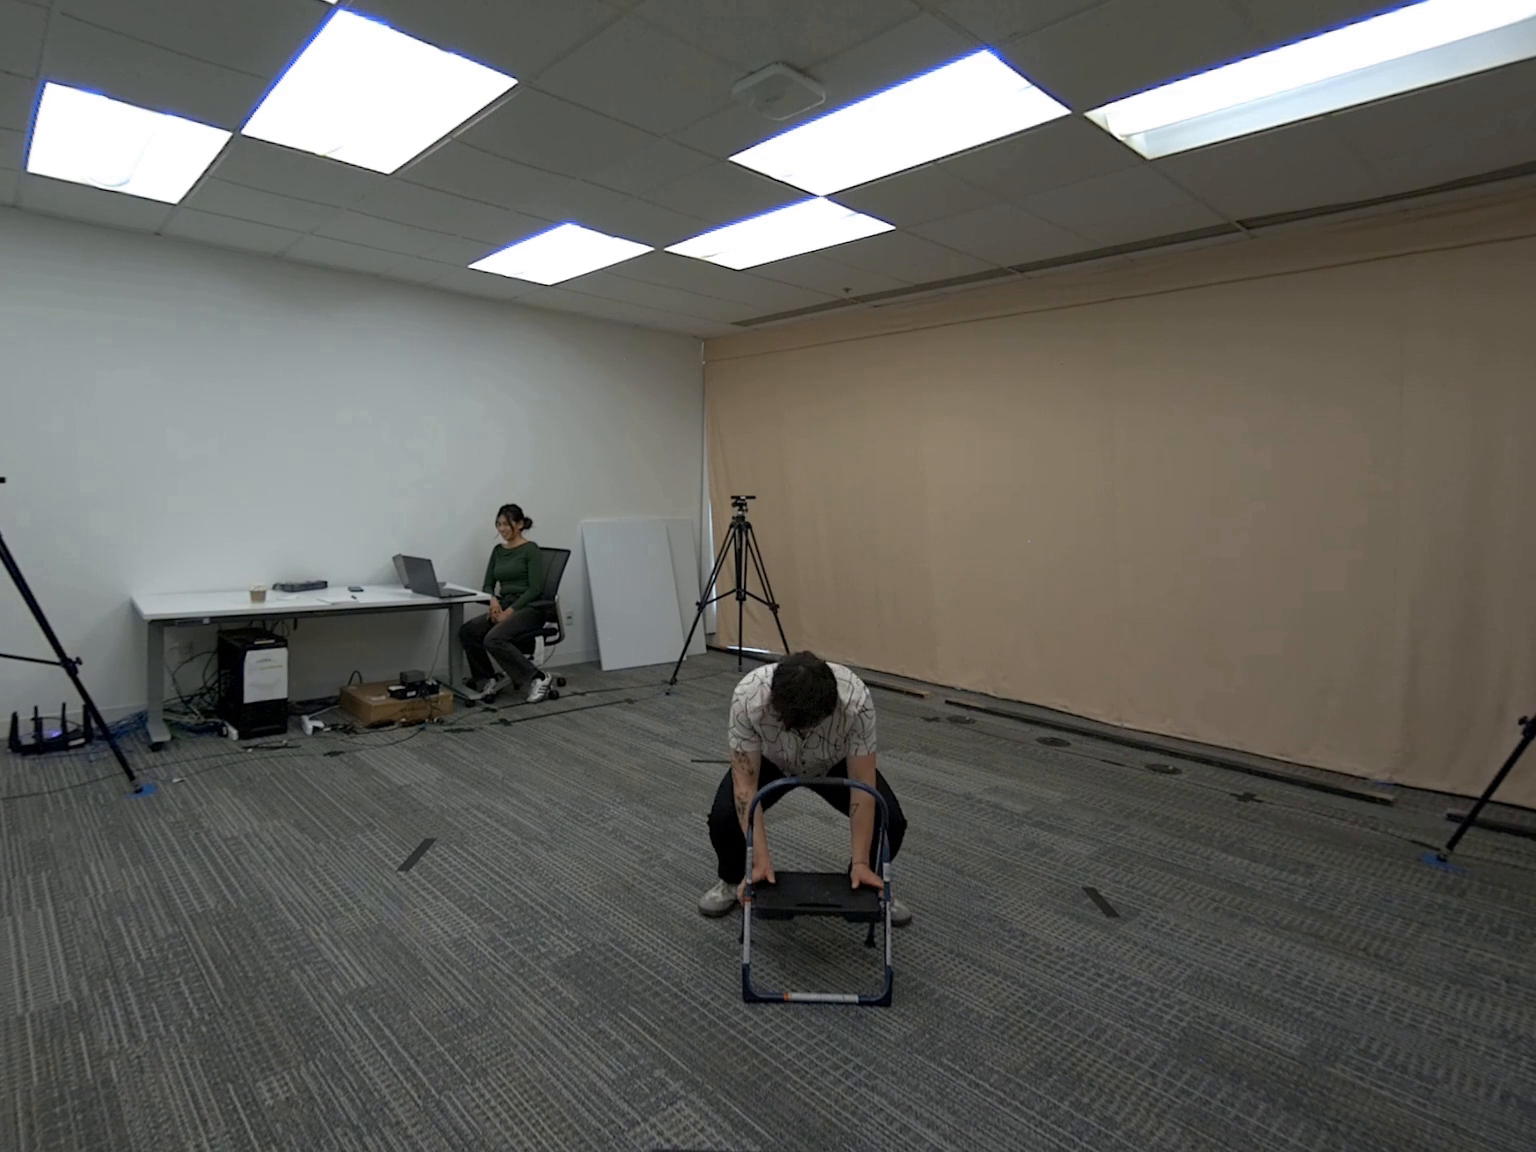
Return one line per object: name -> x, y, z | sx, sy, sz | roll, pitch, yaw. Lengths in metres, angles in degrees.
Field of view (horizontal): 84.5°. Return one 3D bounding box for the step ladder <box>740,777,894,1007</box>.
step ladder -> 0.132, 0.868, 2.462 | 0.430, 0.605, 0.350 | 1, 3, -2
